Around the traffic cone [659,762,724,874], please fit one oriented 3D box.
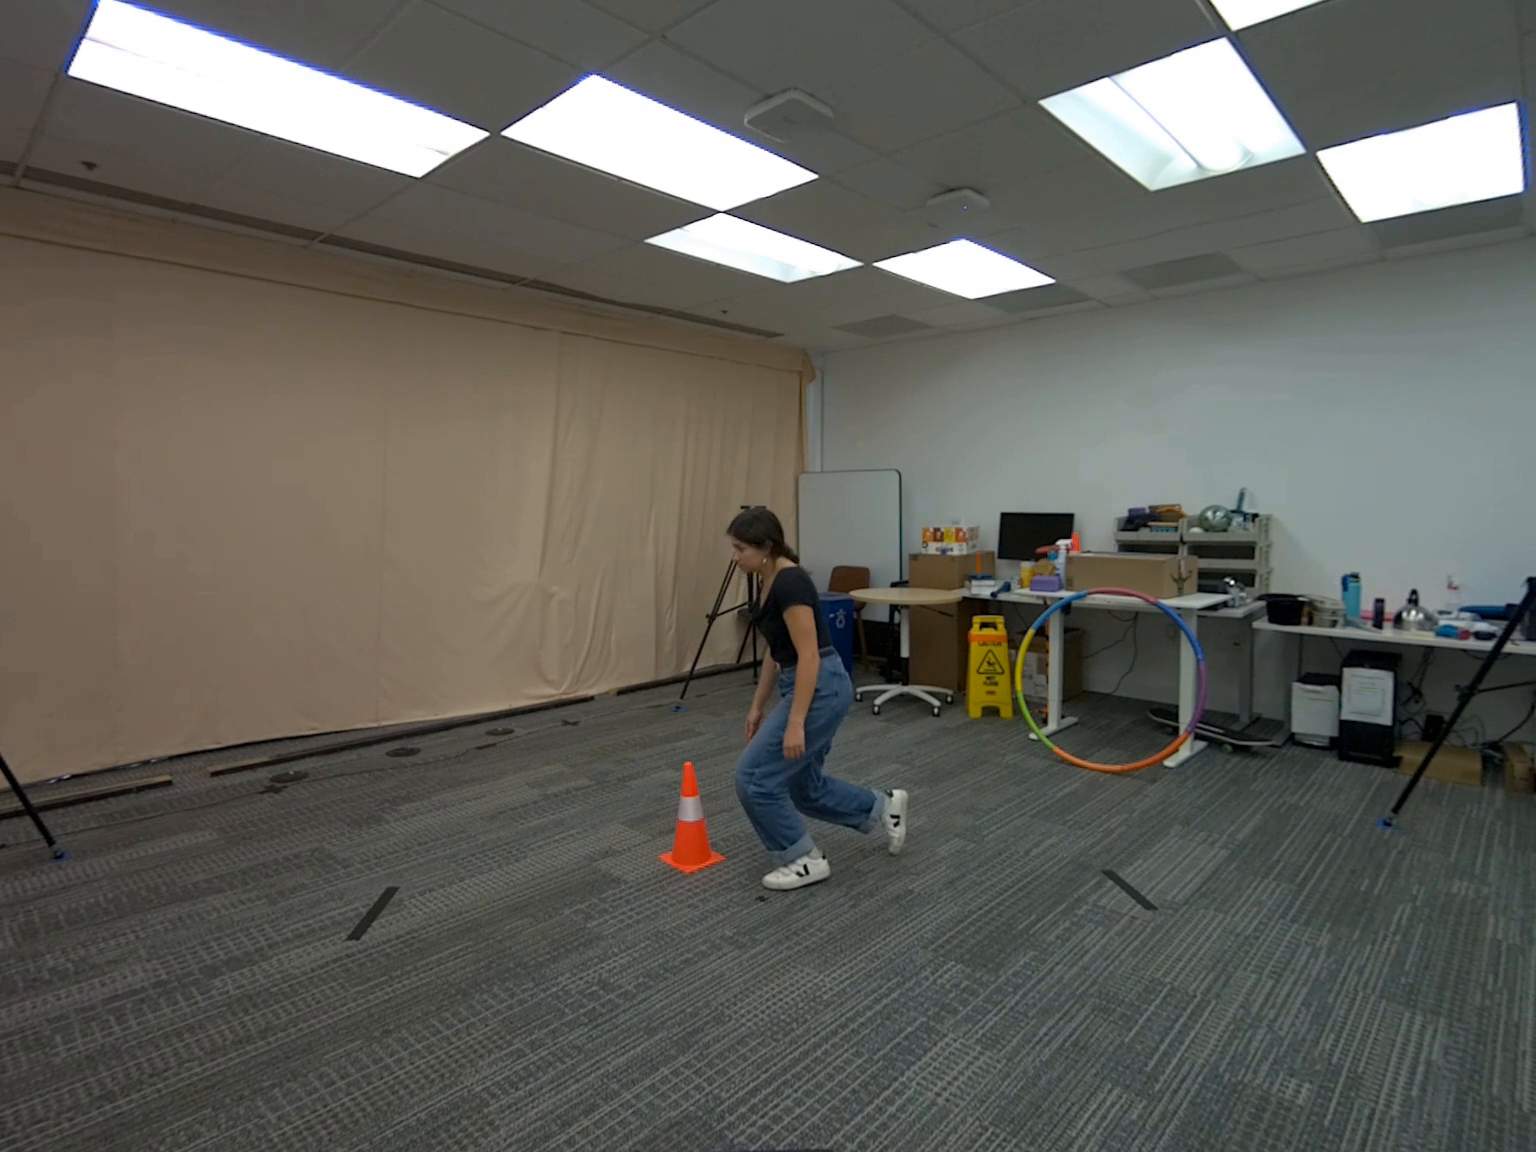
[{"bbox_3d":[-0.299,0.936,3.316,0.210,0.383,0.199,3,5,43],"label":"traffic cone"}]
